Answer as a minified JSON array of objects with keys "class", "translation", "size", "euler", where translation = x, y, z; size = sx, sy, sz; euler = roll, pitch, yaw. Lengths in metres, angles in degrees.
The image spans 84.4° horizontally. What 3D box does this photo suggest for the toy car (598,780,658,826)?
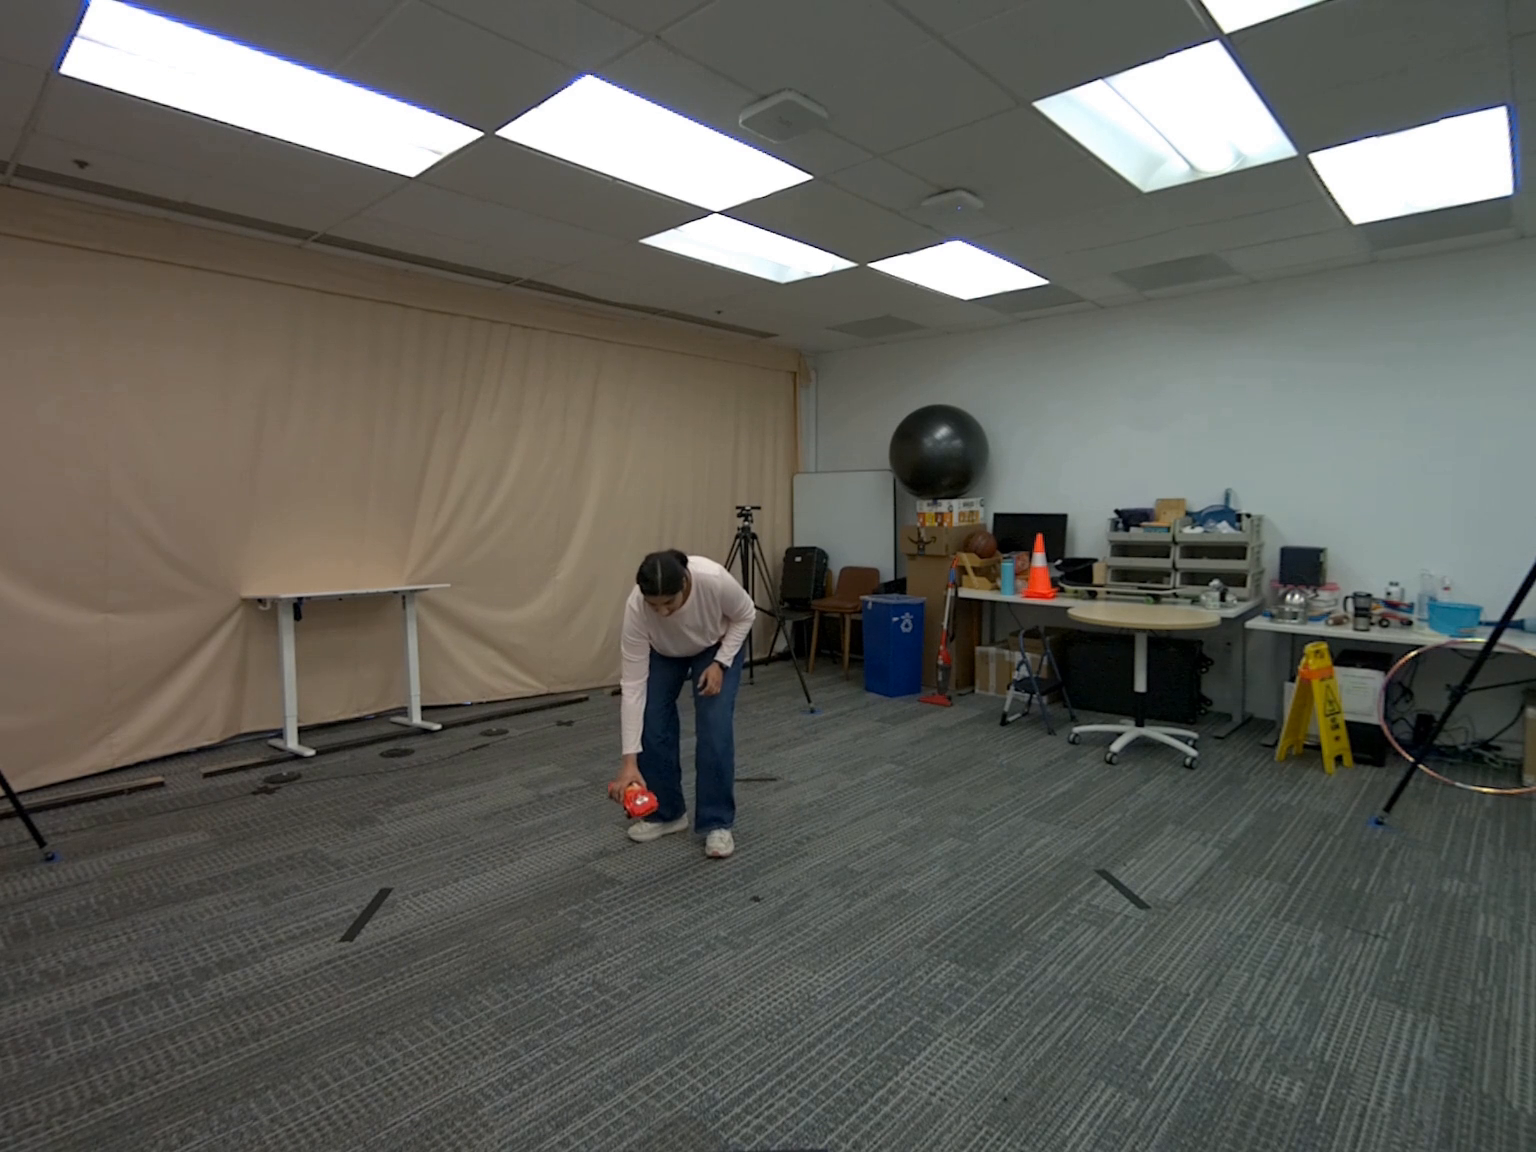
[{"class":"toy car","translation":[-0.495,0.803,3.050],"size":[0.127,0.082,0.262],"euler":[-18,11,-30]}]
